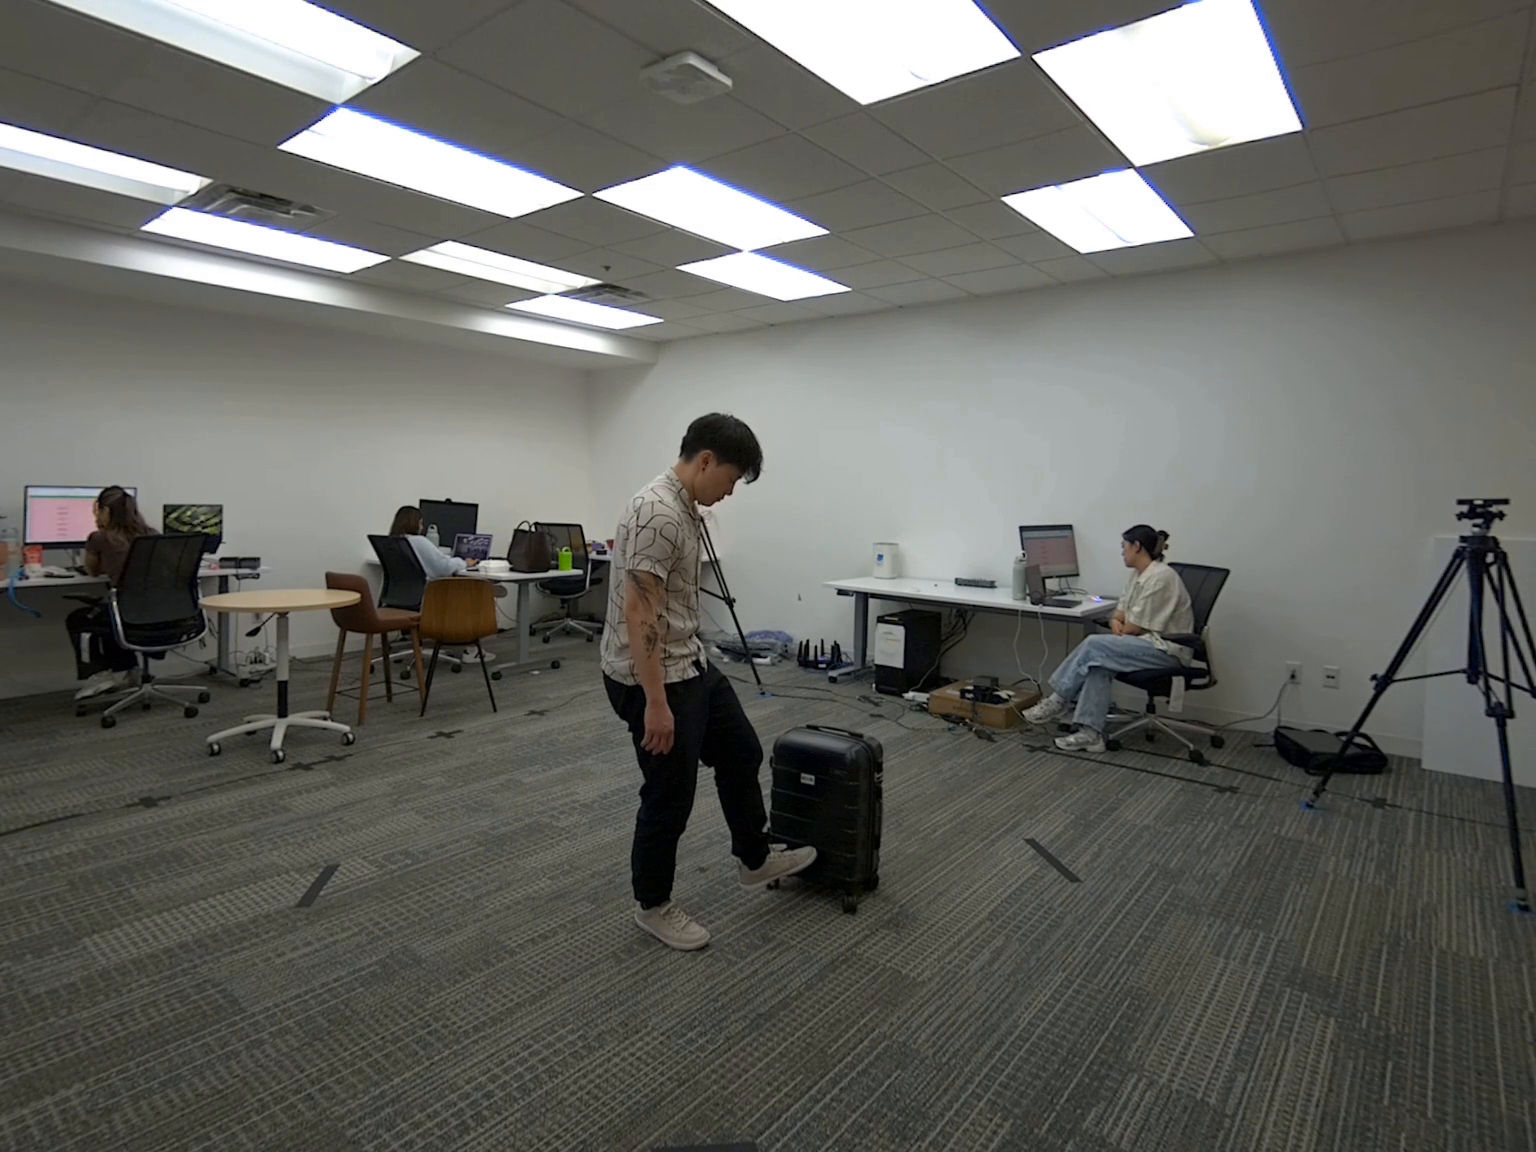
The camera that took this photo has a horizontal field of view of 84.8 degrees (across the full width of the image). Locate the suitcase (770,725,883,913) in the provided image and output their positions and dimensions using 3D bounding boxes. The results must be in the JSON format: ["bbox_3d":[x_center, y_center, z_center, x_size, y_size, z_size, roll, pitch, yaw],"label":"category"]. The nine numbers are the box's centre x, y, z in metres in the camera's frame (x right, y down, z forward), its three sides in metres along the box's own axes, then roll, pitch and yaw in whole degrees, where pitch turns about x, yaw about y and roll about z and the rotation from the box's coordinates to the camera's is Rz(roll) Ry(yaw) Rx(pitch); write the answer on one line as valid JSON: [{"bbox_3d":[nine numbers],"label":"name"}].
[{"bbox_3d":[0.200,0.810,2.995,0.387,0.548,0.241,4,3,32],"label":"suitcase"}]
